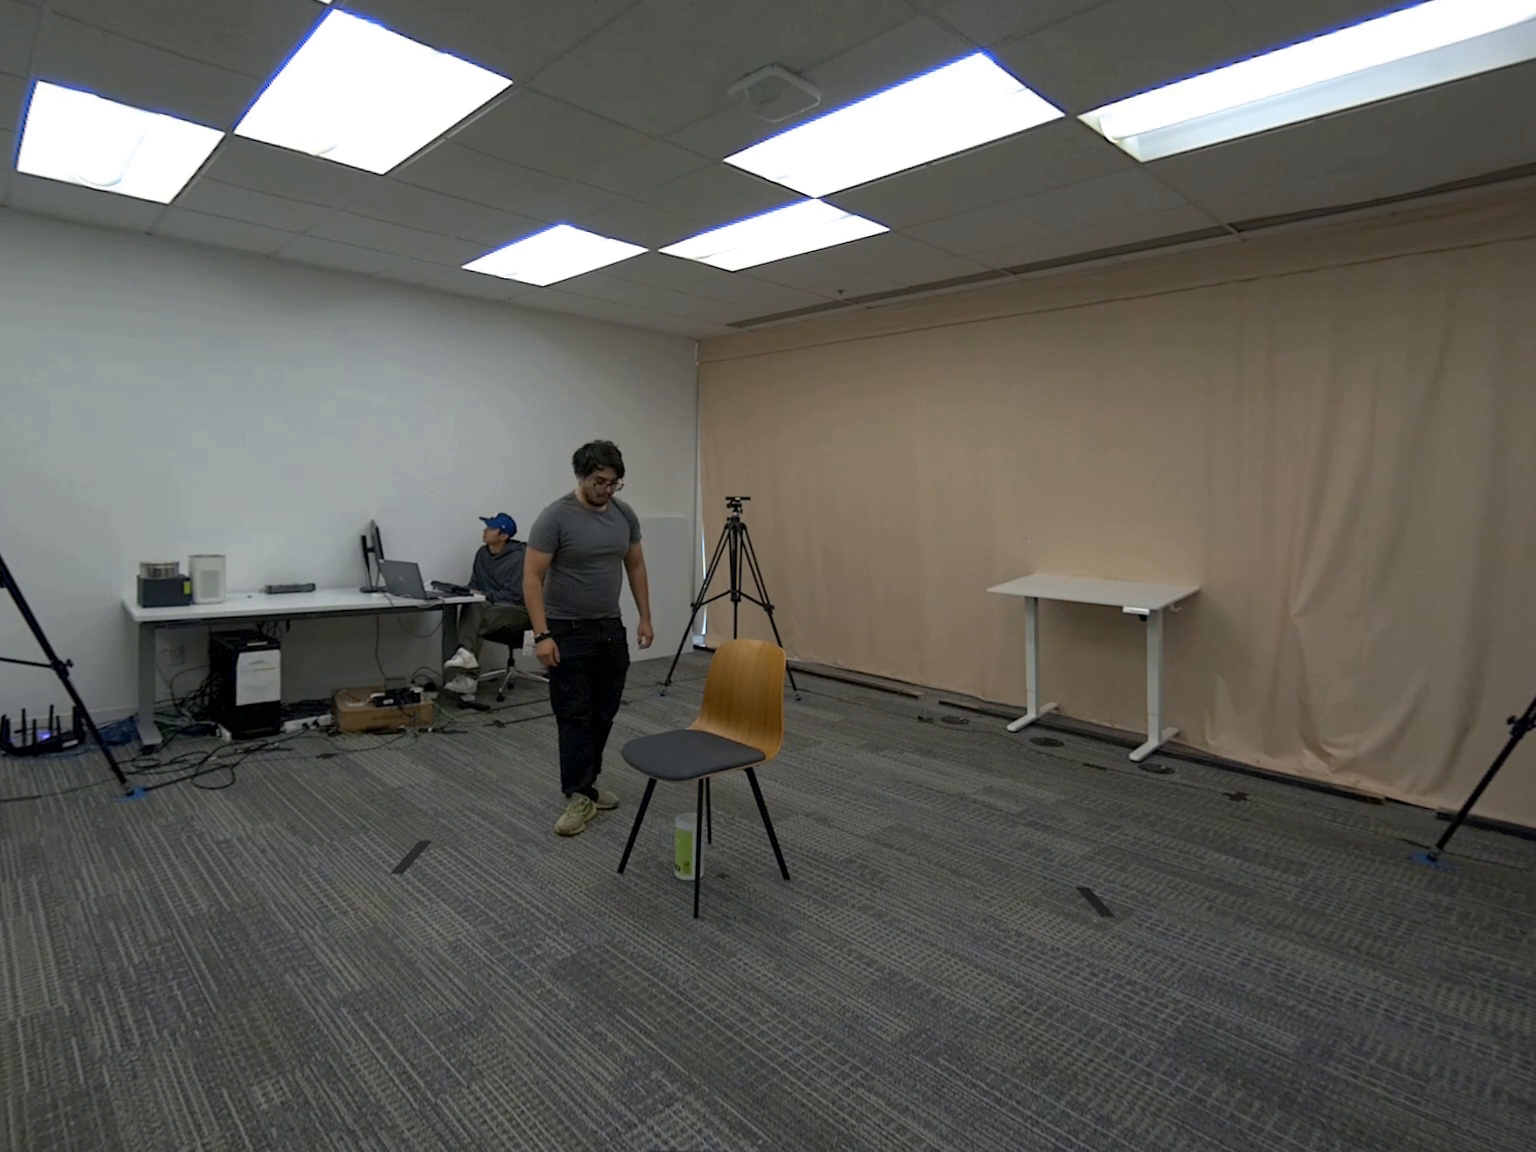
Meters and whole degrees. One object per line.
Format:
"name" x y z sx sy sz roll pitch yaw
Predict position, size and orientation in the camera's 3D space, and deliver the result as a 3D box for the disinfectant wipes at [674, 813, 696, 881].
"disinfectant wipes" -0.300 1.006 3.104 0.118 0.217 0.118 0 3 -1
